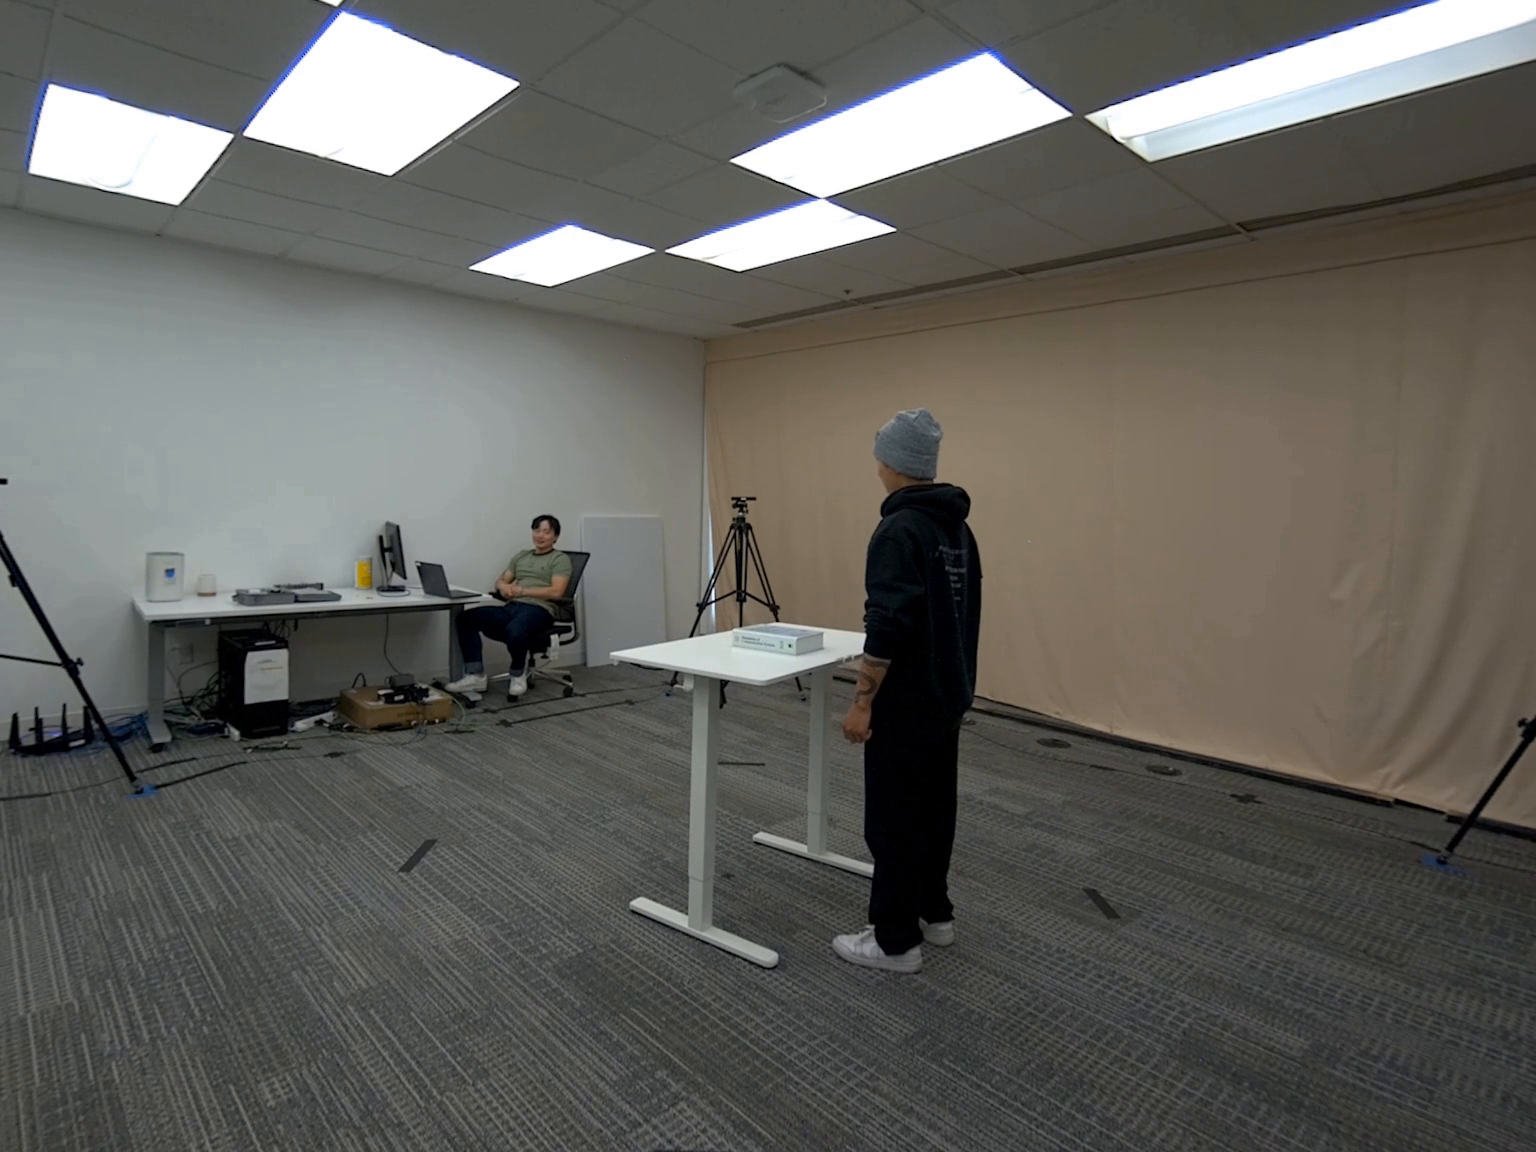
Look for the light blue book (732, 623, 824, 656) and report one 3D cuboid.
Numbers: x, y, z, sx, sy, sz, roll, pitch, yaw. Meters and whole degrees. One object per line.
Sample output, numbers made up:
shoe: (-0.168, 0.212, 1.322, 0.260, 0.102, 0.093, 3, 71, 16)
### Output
light blue book: (0.031, 0.220, 2.906, 0.267, 0.059, 0.187, 5, 7, 35)
